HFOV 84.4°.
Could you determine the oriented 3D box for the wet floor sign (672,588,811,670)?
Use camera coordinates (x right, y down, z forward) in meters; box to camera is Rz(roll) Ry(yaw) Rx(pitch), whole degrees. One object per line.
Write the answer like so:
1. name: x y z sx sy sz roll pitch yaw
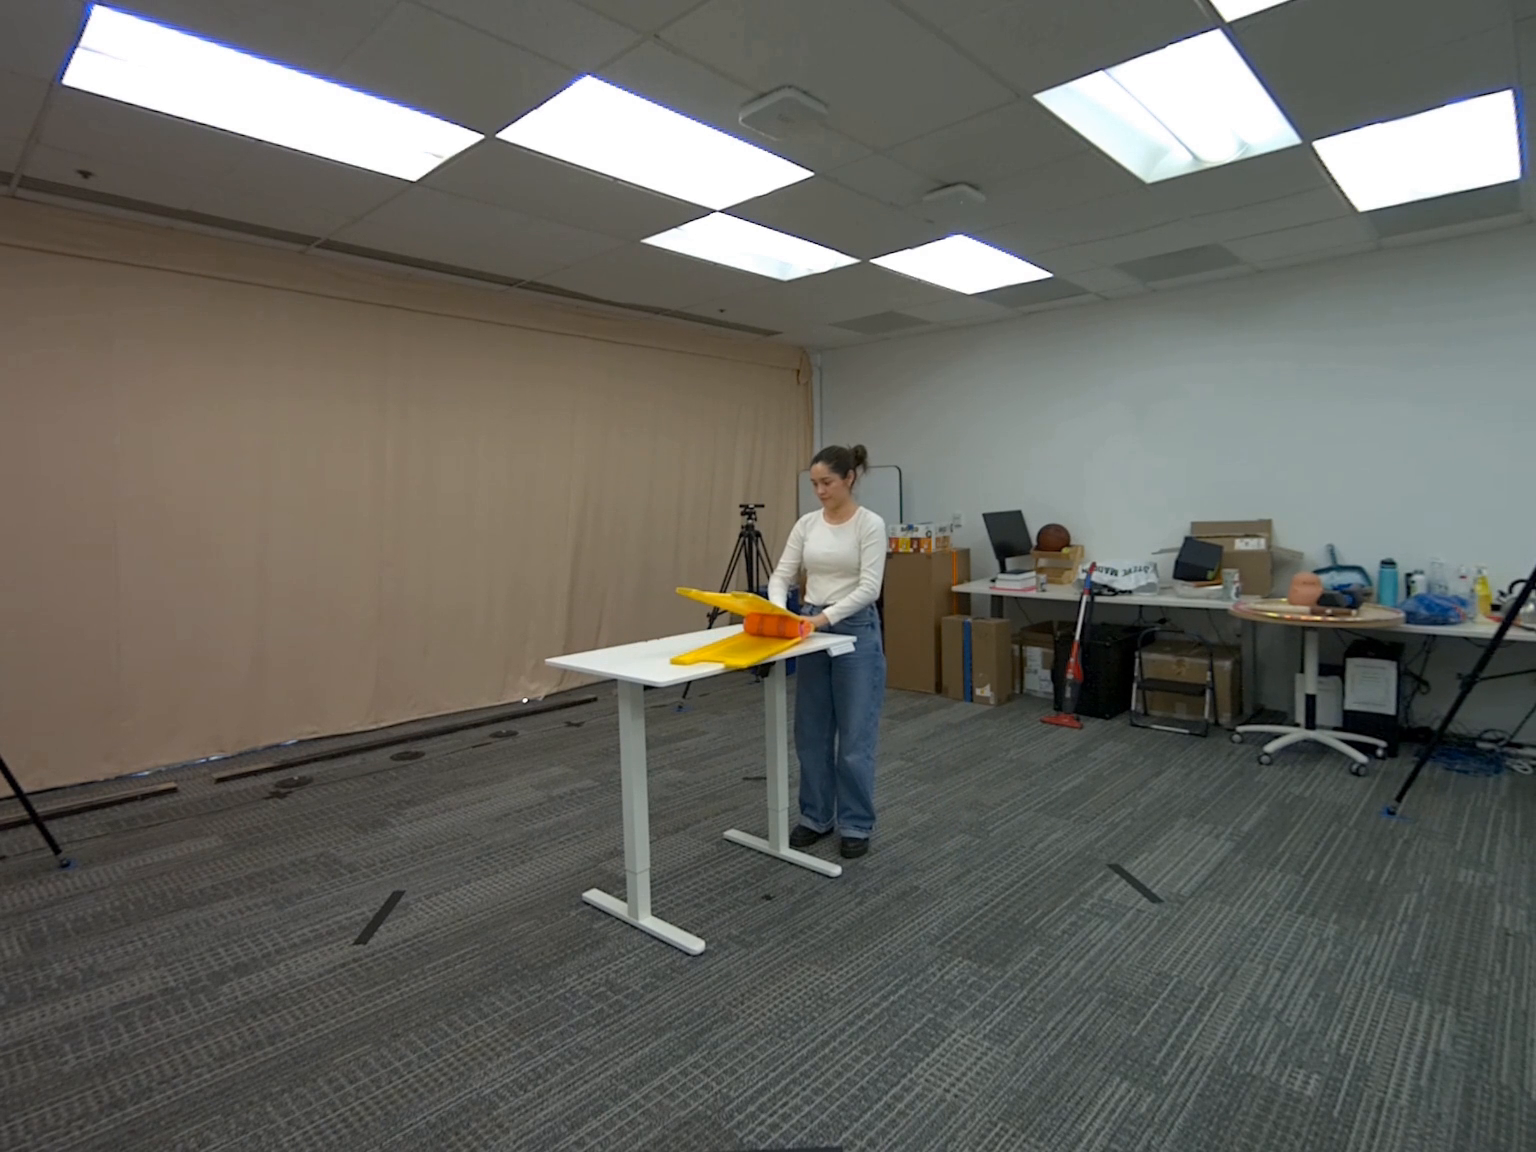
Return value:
1. wet floor sign: -0.045 0.187 2.957 0.290 0.290 0.628 2 -1 28
